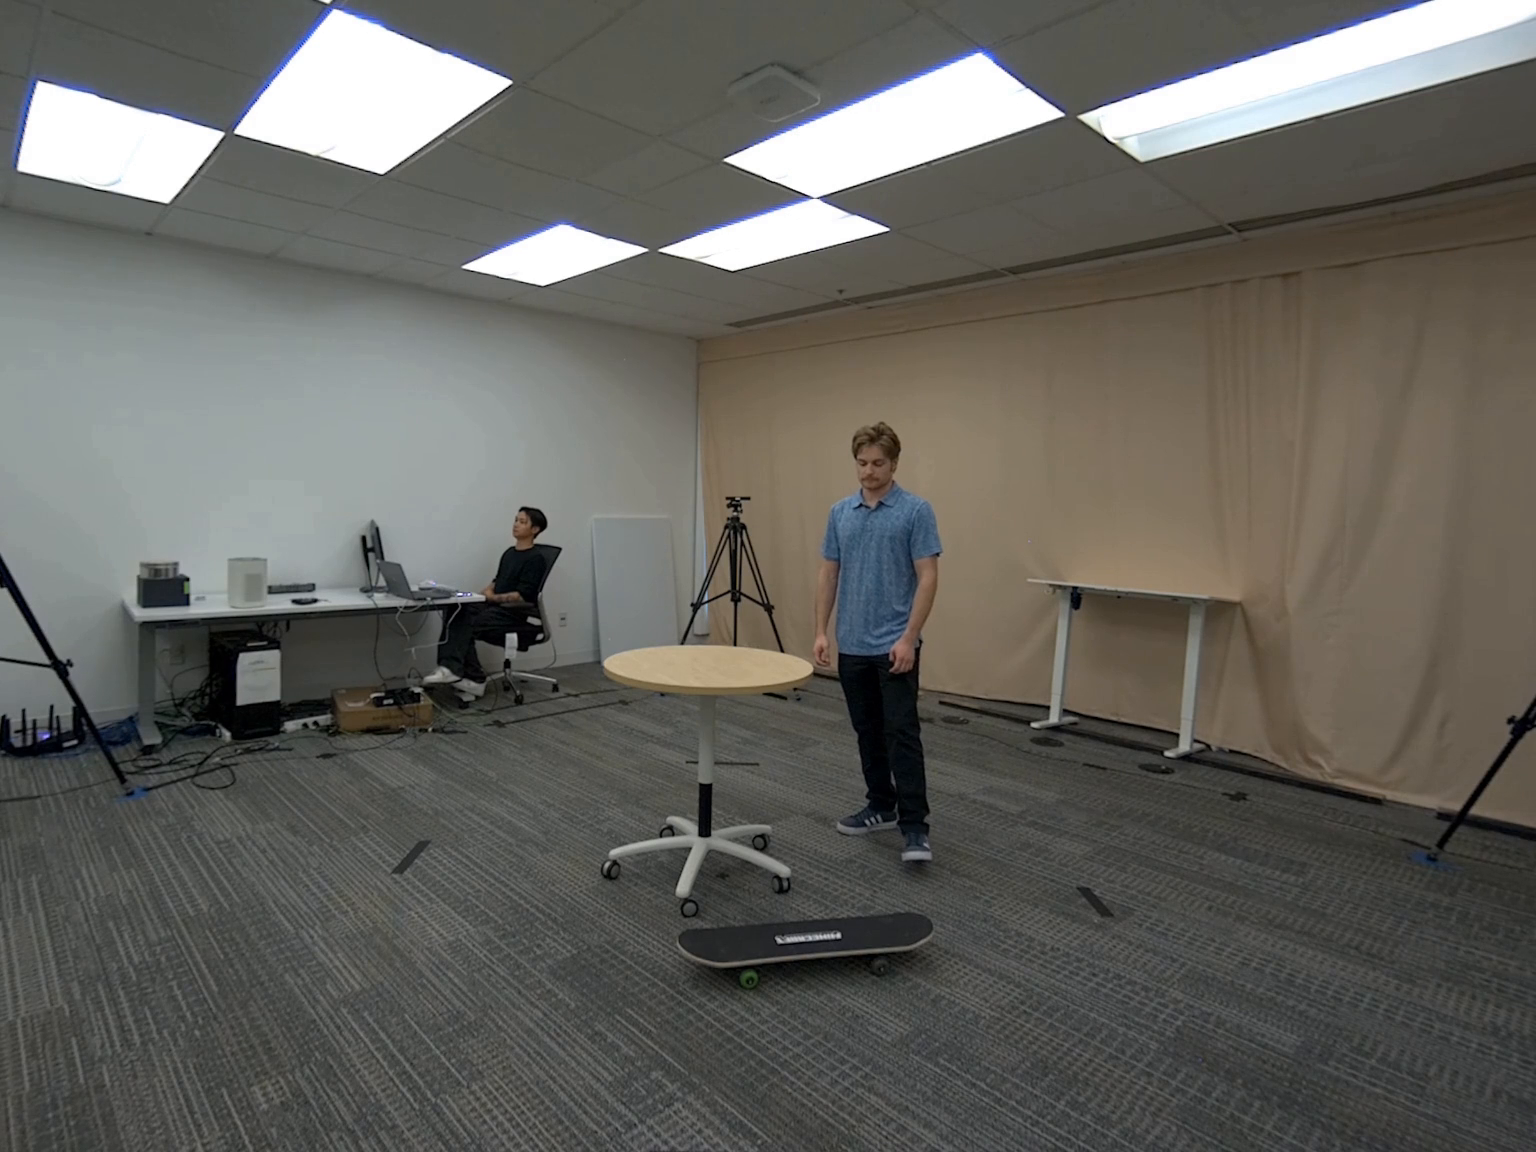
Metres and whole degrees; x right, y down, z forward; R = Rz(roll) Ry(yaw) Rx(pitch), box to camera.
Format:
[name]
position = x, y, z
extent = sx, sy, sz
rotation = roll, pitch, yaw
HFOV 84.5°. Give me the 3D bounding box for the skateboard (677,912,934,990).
[skateboard]
position = 0.117, 1.111, 2.511
extent = 0.778, 0.110, 0.196
rotation = 0, 5, -12
